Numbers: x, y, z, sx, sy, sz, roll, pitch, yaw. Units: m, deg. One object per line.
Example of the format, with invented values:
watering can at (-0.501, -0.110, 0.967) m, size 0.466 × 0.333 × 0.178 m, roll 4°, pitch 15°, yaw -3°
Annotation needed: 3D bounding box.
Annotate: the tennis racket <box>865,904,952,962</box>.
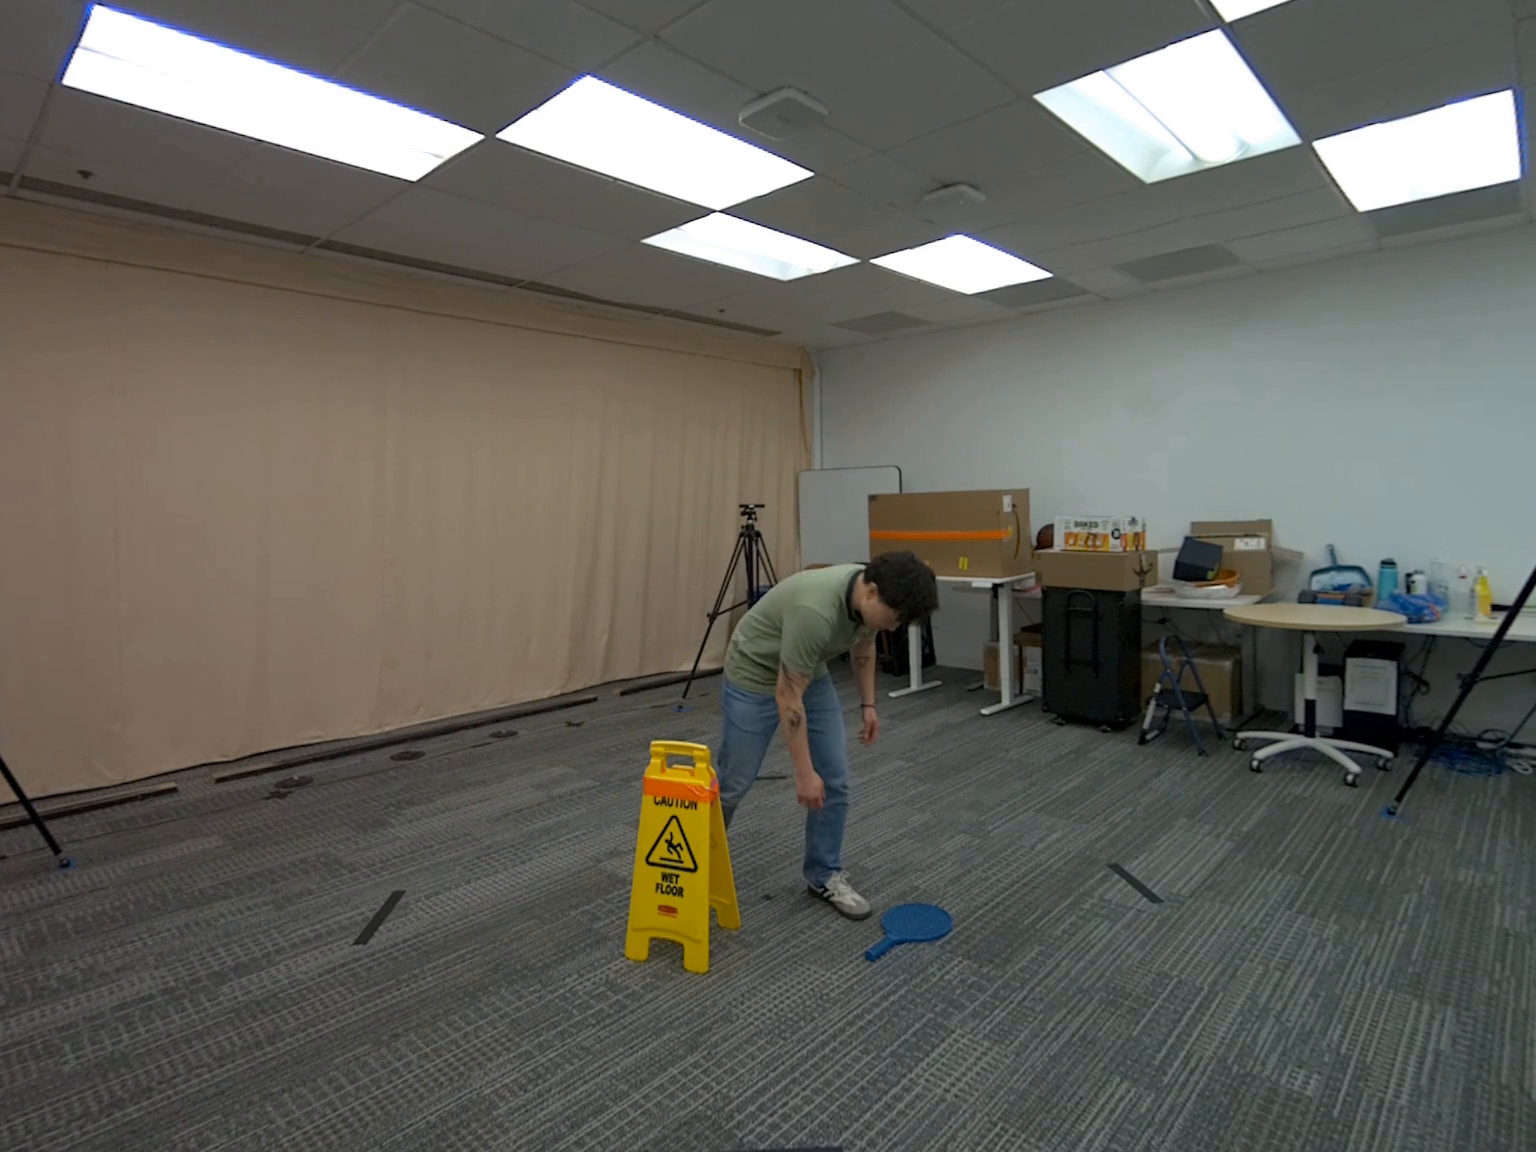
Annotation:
tennis racket at (0.449, 1.143, 2.723) m, size 0.221 × 0.032 × 0.419 m, roll 4°, pitch 6°, yaw 43°
